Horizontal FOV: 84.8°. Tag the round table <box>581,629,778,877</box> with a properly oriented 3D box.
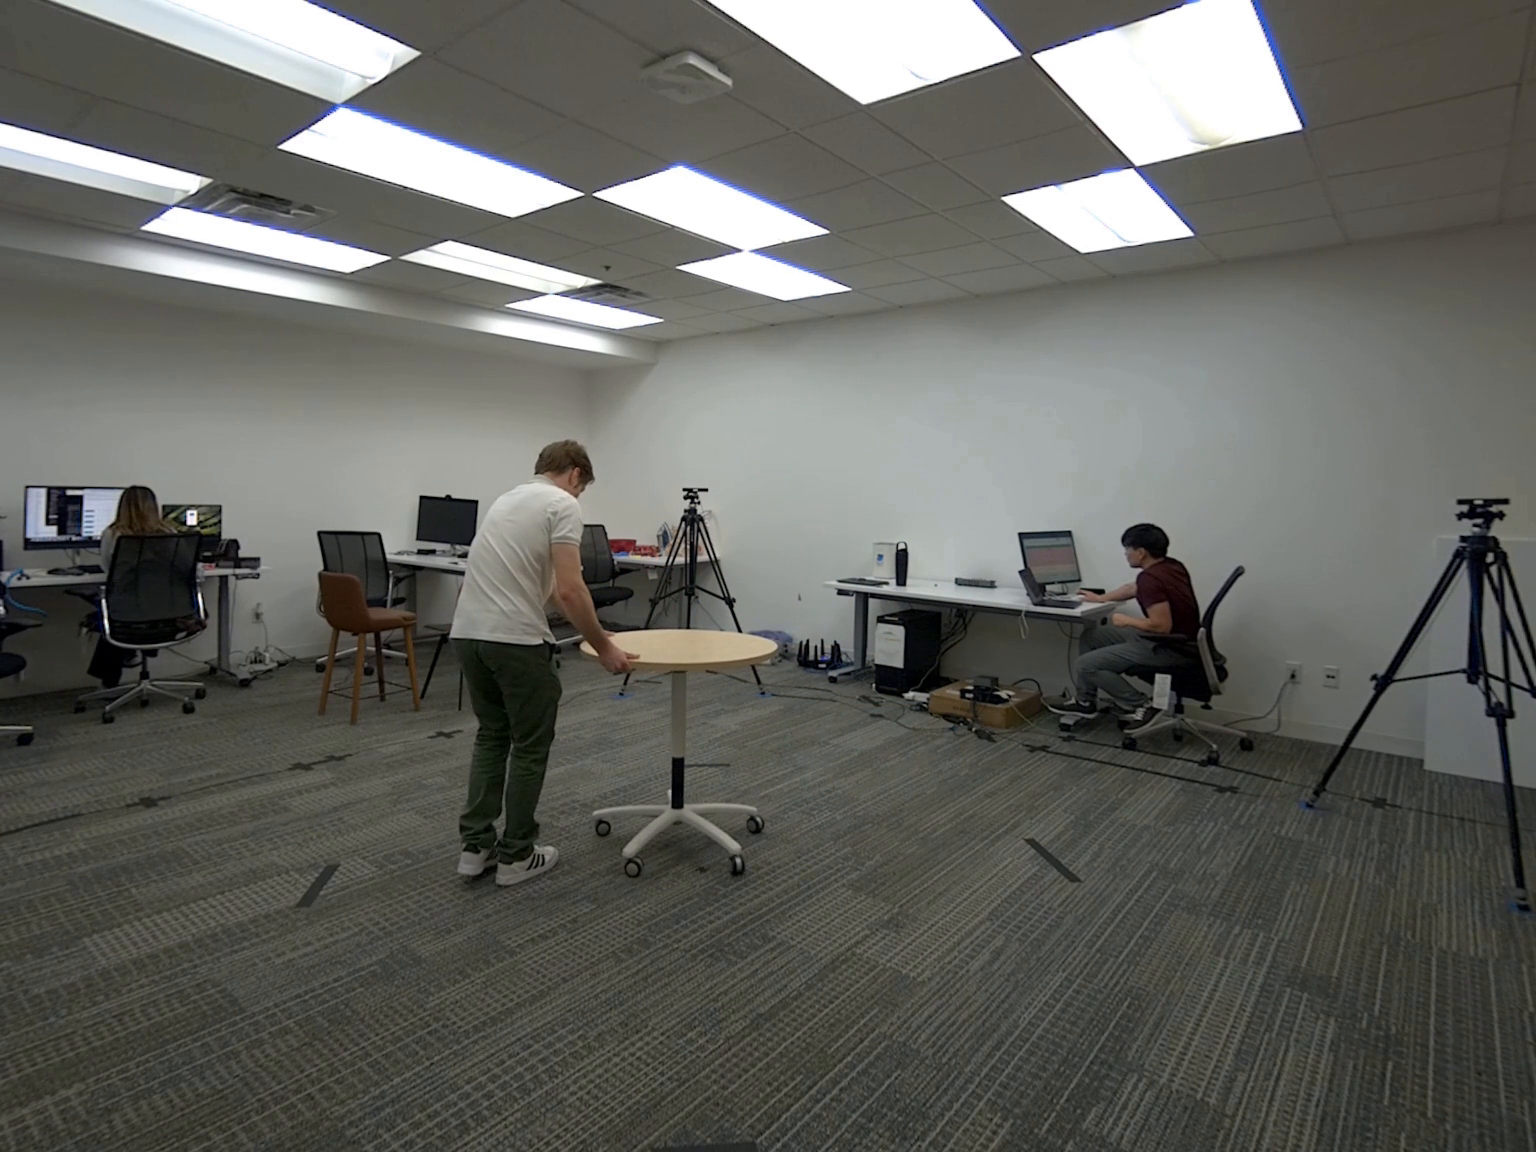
[{"bbox_3d":[-0.368,0.652,3.316,0.784,0.784,0.788,0,4,-2],"label":"round table"}]
